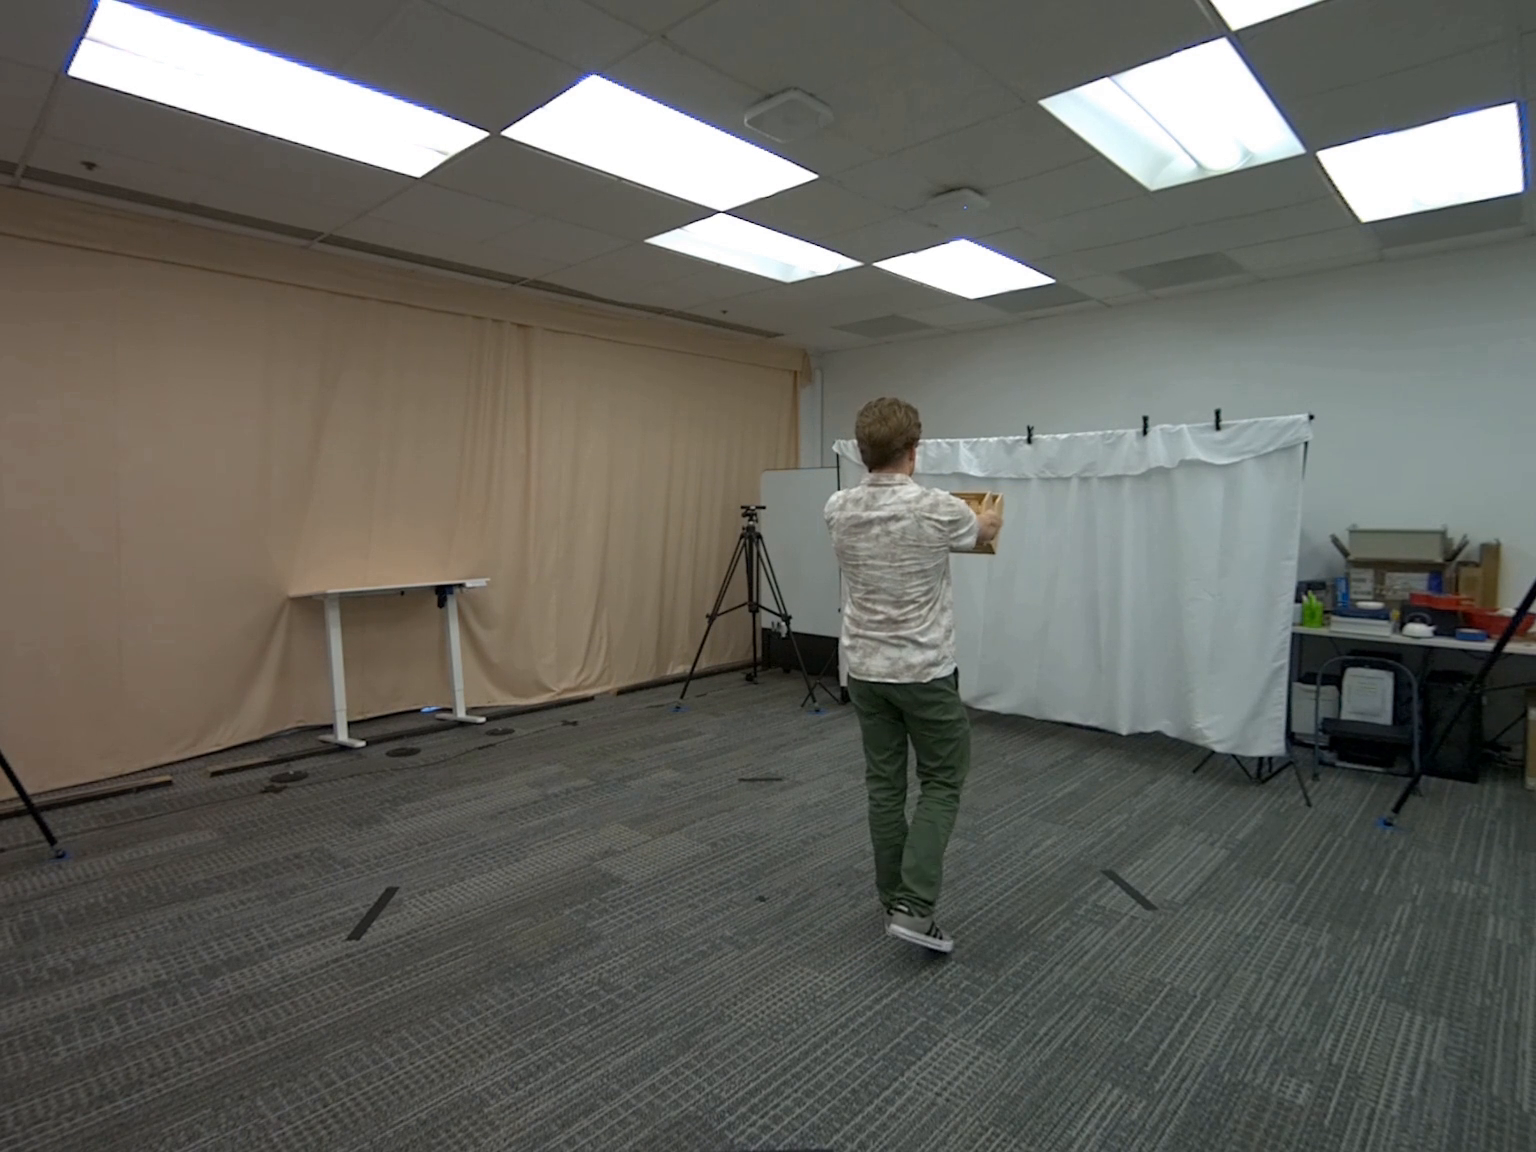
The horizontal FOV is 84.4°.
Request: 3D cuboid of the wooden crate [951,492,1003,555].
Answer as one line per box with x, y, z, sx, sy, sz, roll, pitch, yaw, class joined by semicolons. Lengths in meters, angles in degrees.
0.734;-0.240;3.300;0.333;0.304;0.264;2;-25;28;wooden crate
